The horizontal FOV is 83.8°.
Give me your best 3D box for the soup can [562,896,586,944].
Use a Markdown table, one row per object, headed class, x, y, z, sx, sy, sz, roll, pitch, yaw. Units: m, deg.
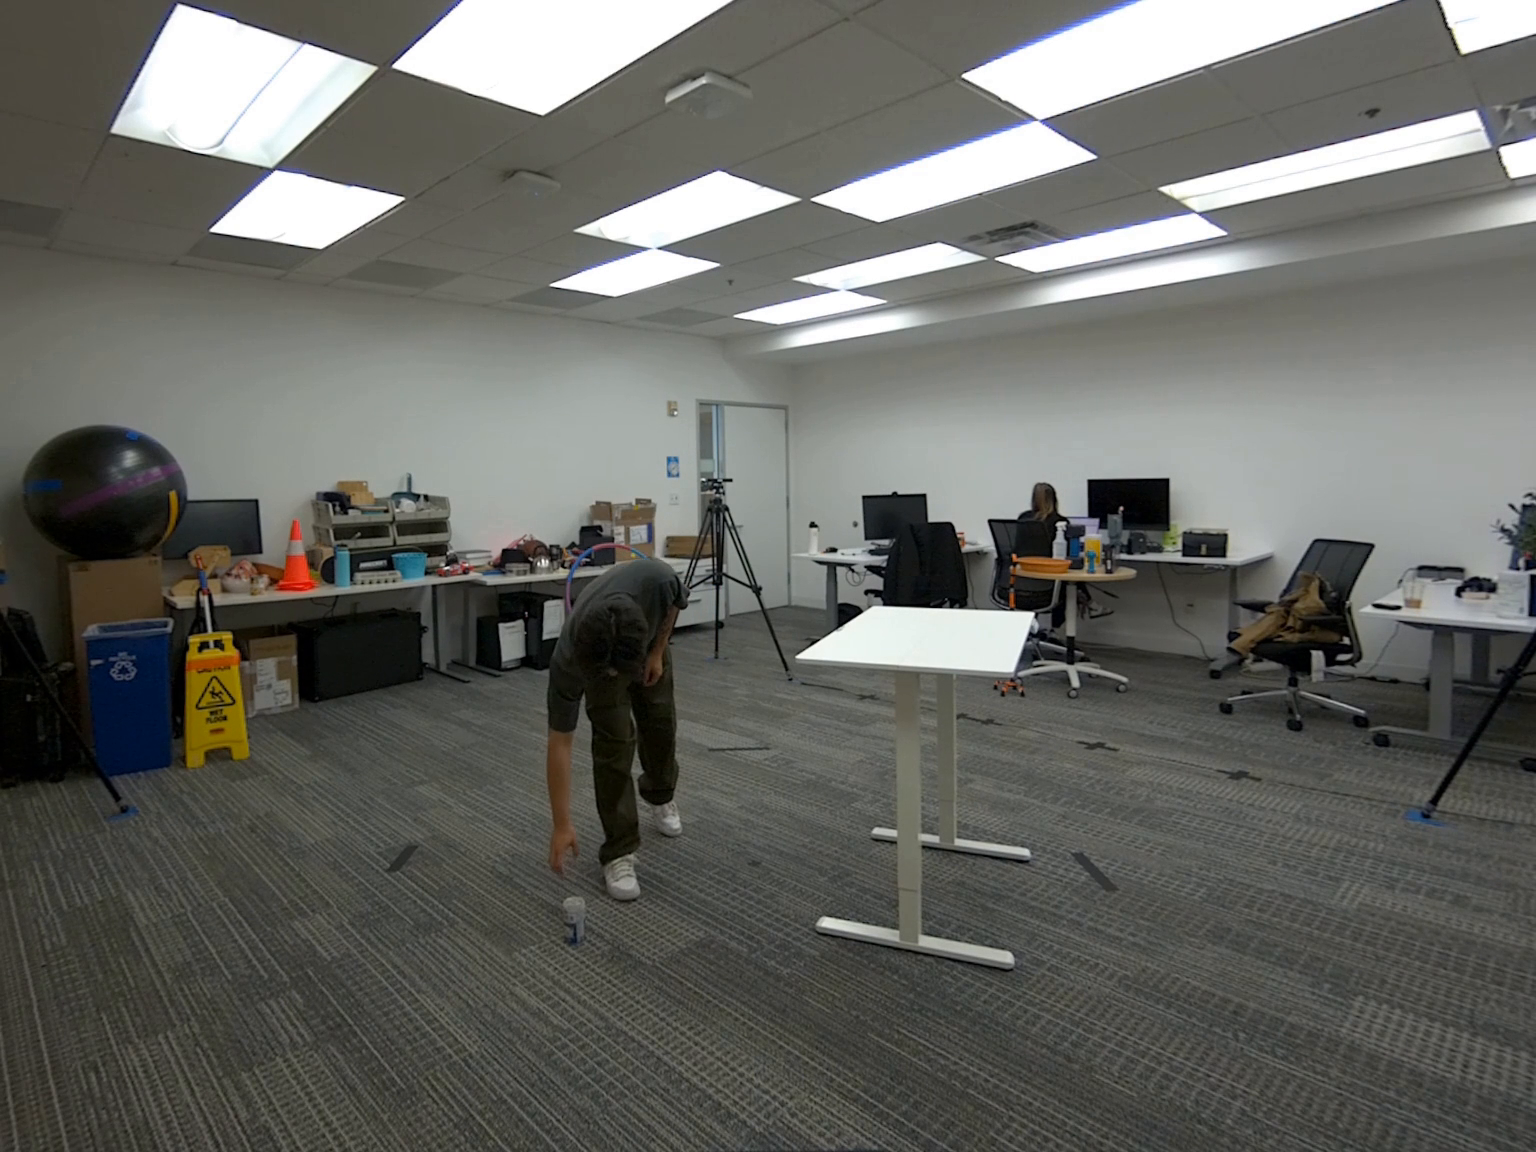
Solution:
| class | x | y | z | sx | sy | sz | roll | pitch | yaw |
| --- | --- | --- | --- | --- | --- | --- | --- | --- | --- |
| soup can | -0.590 | 1.060 | 2.616 | 0.067 | 0.121 | 0.067 | -4 | 4 | -1 |
